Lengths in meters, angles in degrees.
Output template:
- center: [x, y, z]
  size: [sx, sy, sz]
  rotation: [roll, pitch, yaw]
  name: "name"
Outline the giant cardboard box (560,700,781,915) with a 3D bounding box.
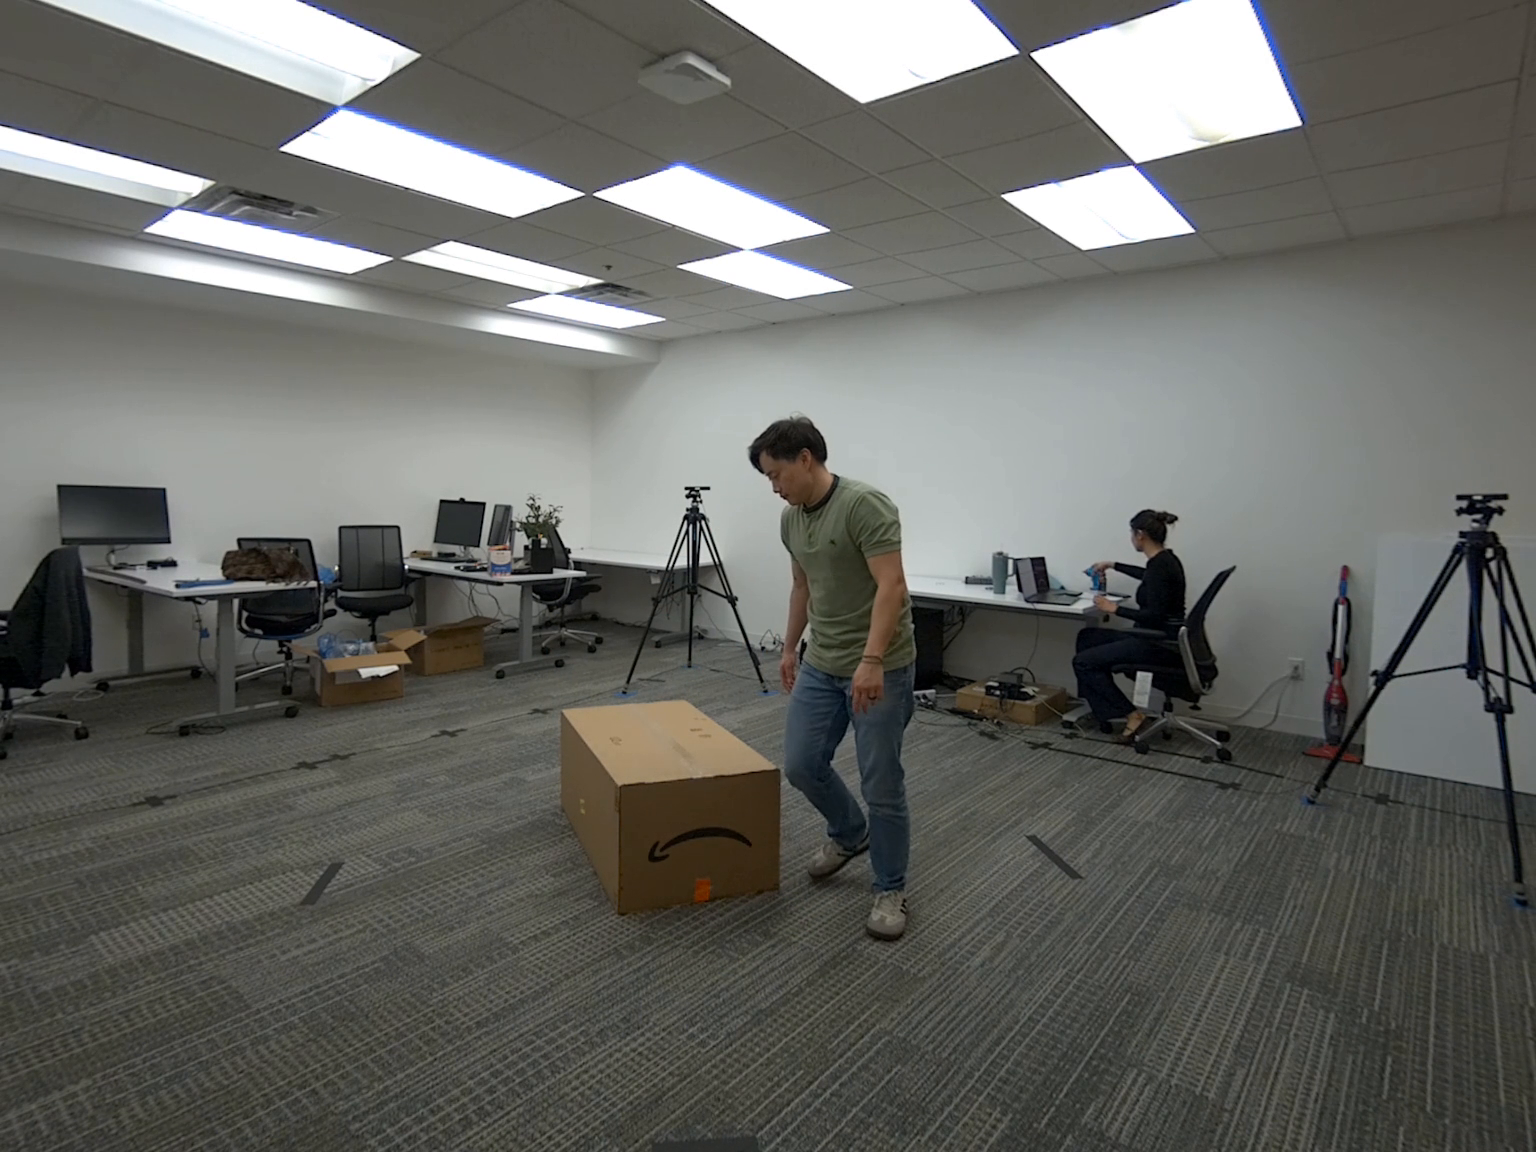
- center: [-0.440, 0.829, 3.310]
  size: [0.565, 0.425, 1.052]
  rotation: [-1, 5, -23]
  name: "giant cardboard box"
